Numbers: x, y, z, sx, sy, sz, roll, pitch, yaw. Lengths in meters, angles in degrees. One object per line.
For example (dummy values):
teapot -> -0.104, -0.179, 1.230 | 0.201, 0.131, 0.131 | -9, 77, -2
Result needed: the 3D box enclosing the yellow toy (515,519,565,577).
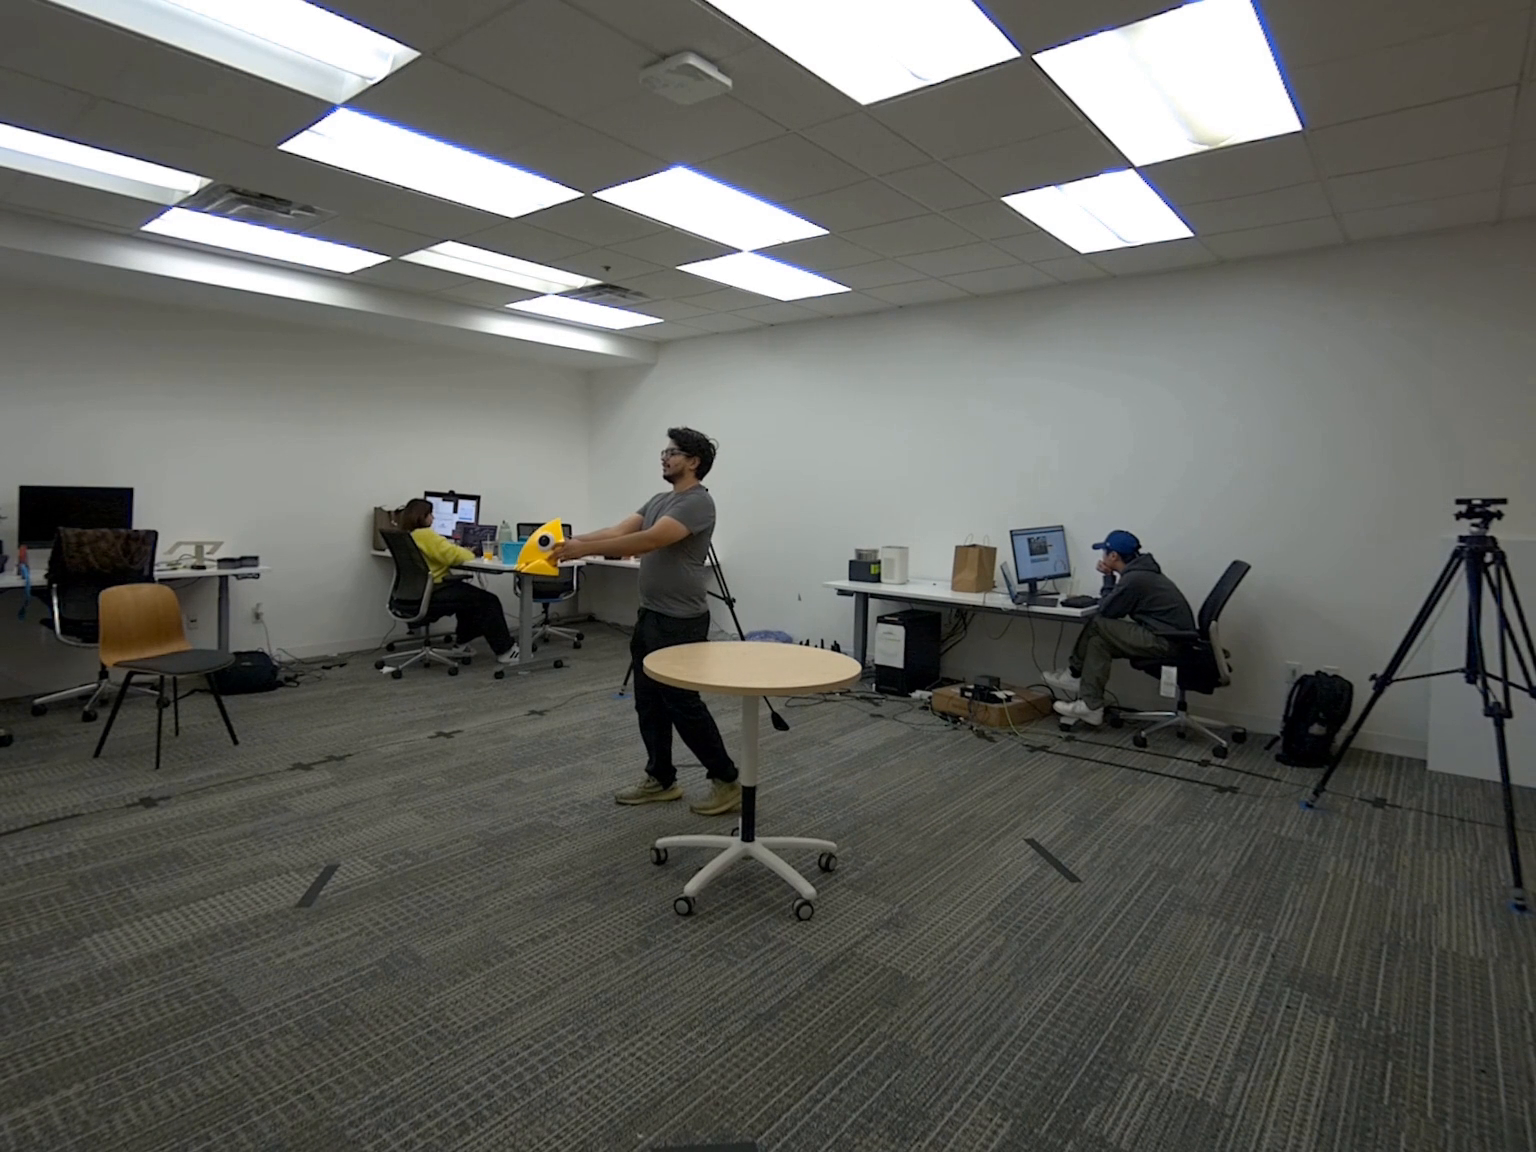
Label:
yellow toy -> -0.938, -0.129, 3.468 | 0.187, 0.231, 0.211 | 5, 1, -30
